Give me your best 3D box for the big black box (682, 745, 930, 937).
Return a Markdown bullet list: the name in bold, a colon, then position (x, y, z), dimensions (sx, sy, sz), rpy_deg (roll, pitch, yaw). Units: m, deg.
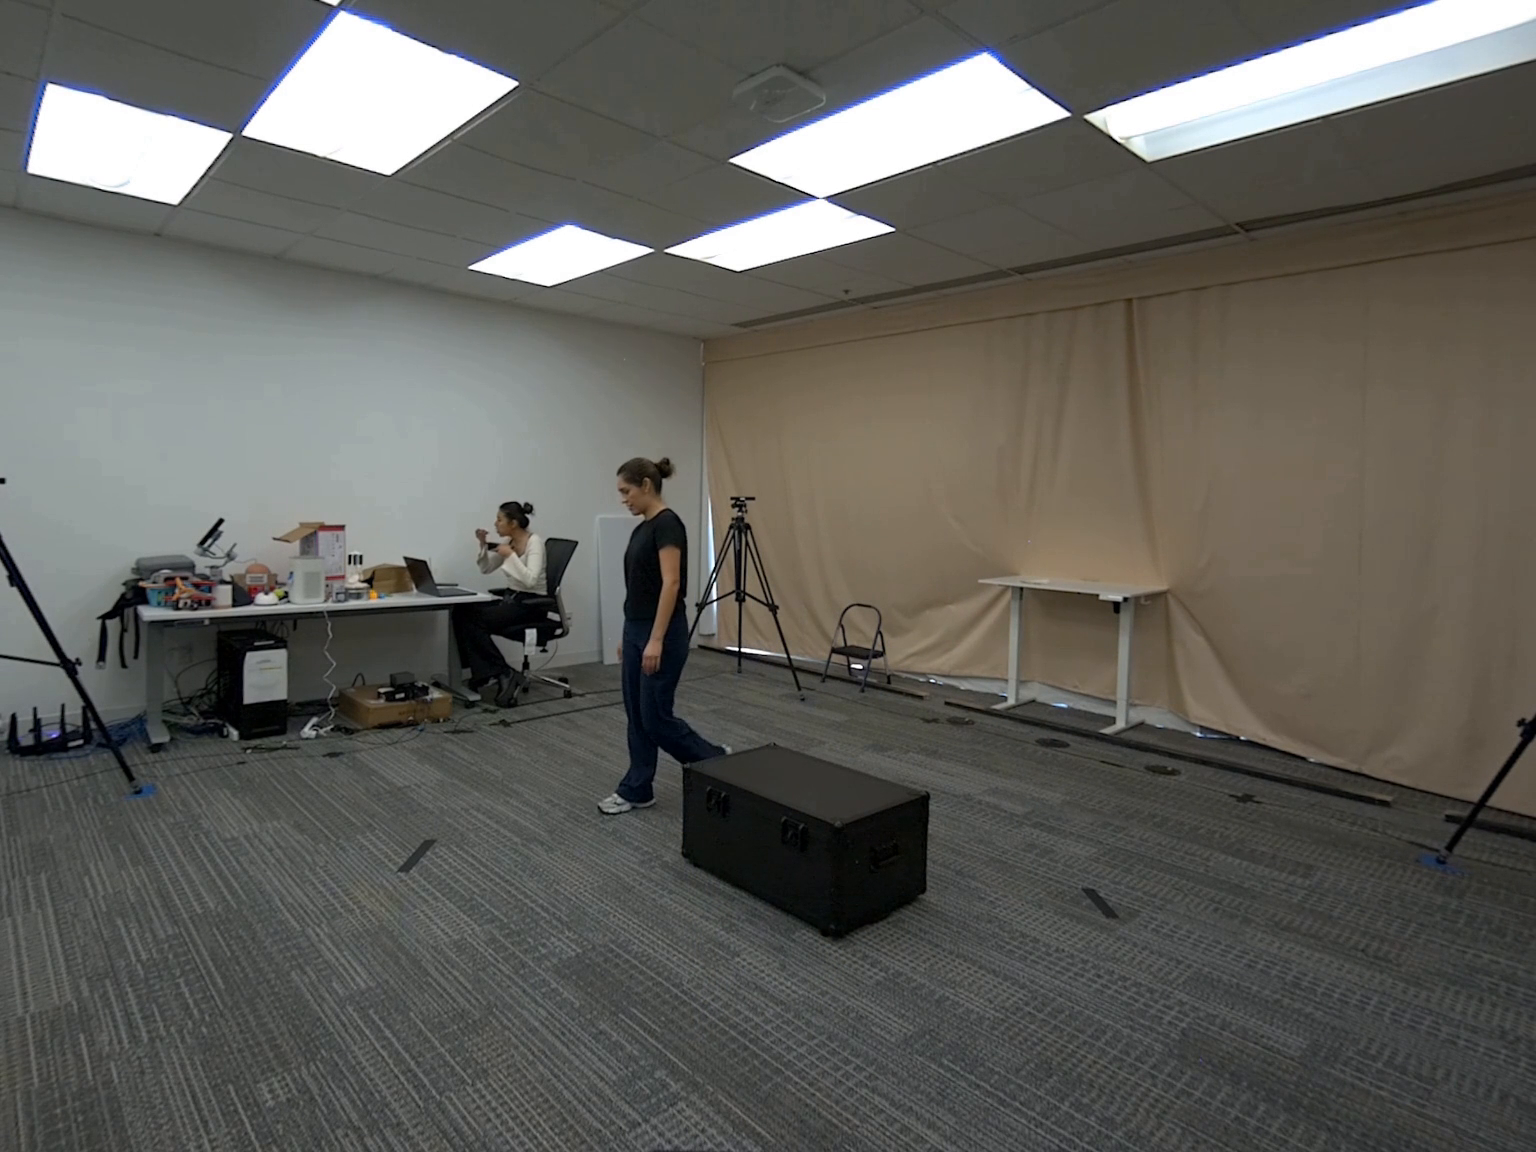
- **big black box**: position (0.094, 0.924, 3.087), dimensions (0.509, 0.395, 0.884), rpy_deg (-2, 6, -44)
